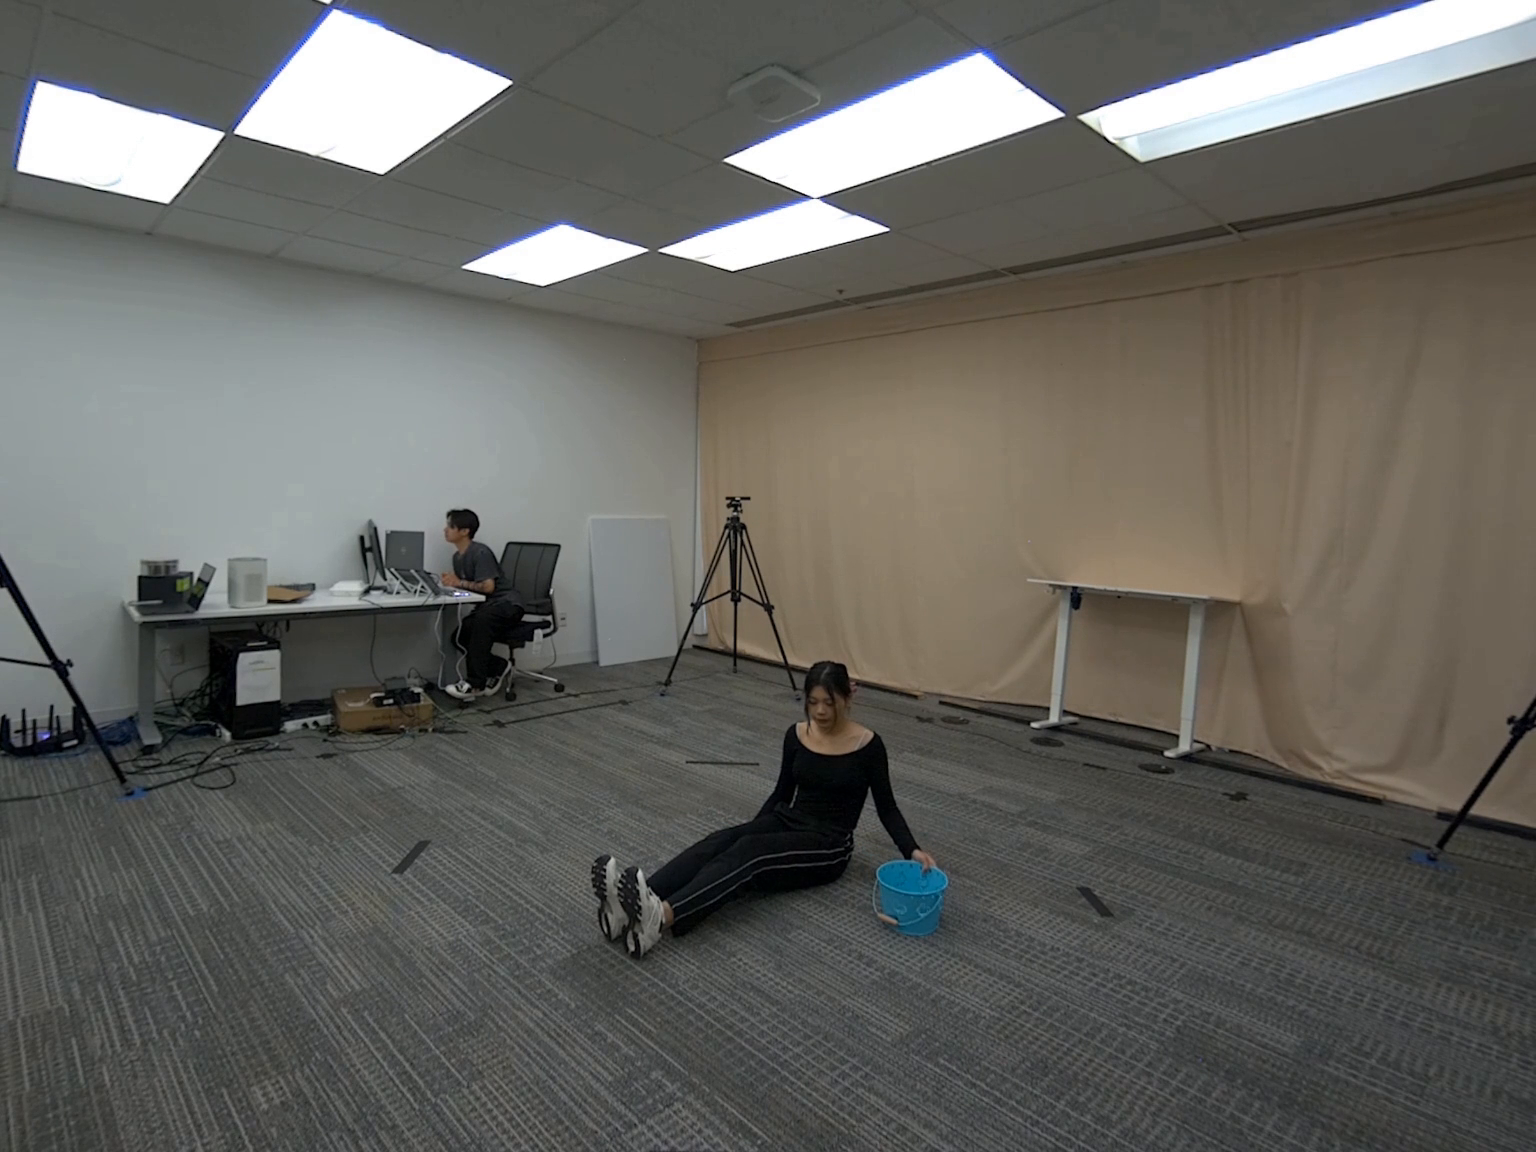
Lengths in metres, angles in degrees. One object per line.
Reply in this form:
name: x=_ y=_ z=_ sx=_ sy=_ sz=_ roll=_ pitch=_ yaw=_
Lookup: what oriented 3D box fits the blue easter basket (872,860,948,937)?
blue easter basket: x=0.453 y=1.066 z=2.787 sx=0.243 sy=0.155 sz=0.244 roll=1 pitch=6 yaw=-1
